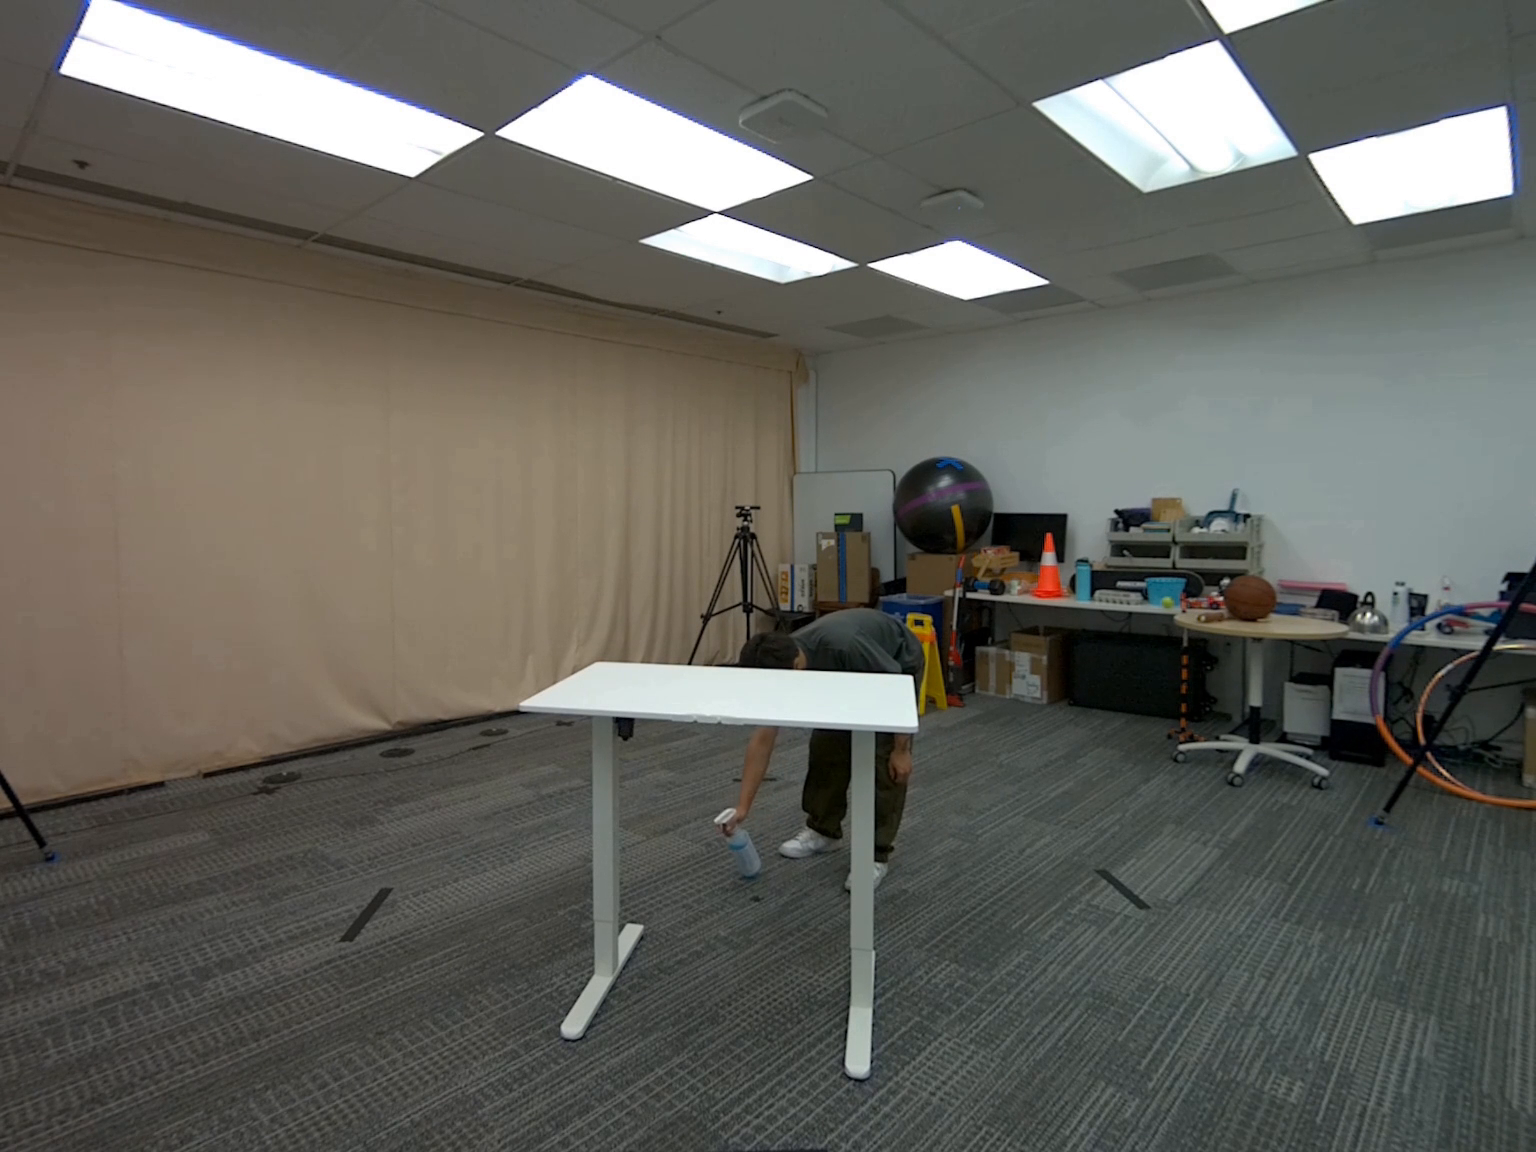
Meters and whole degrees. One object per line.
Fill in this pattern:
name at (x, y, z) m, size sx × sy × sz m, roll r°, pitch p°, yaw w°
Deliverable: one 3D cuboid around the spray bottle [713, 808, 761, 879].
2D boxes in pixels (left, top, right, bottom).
spray bottle at (-0.102, 0.982, 3.108) m, size 0.090 × 0.291 × 0.089 m, roll -22°, pitch 26°, yaw -3°
